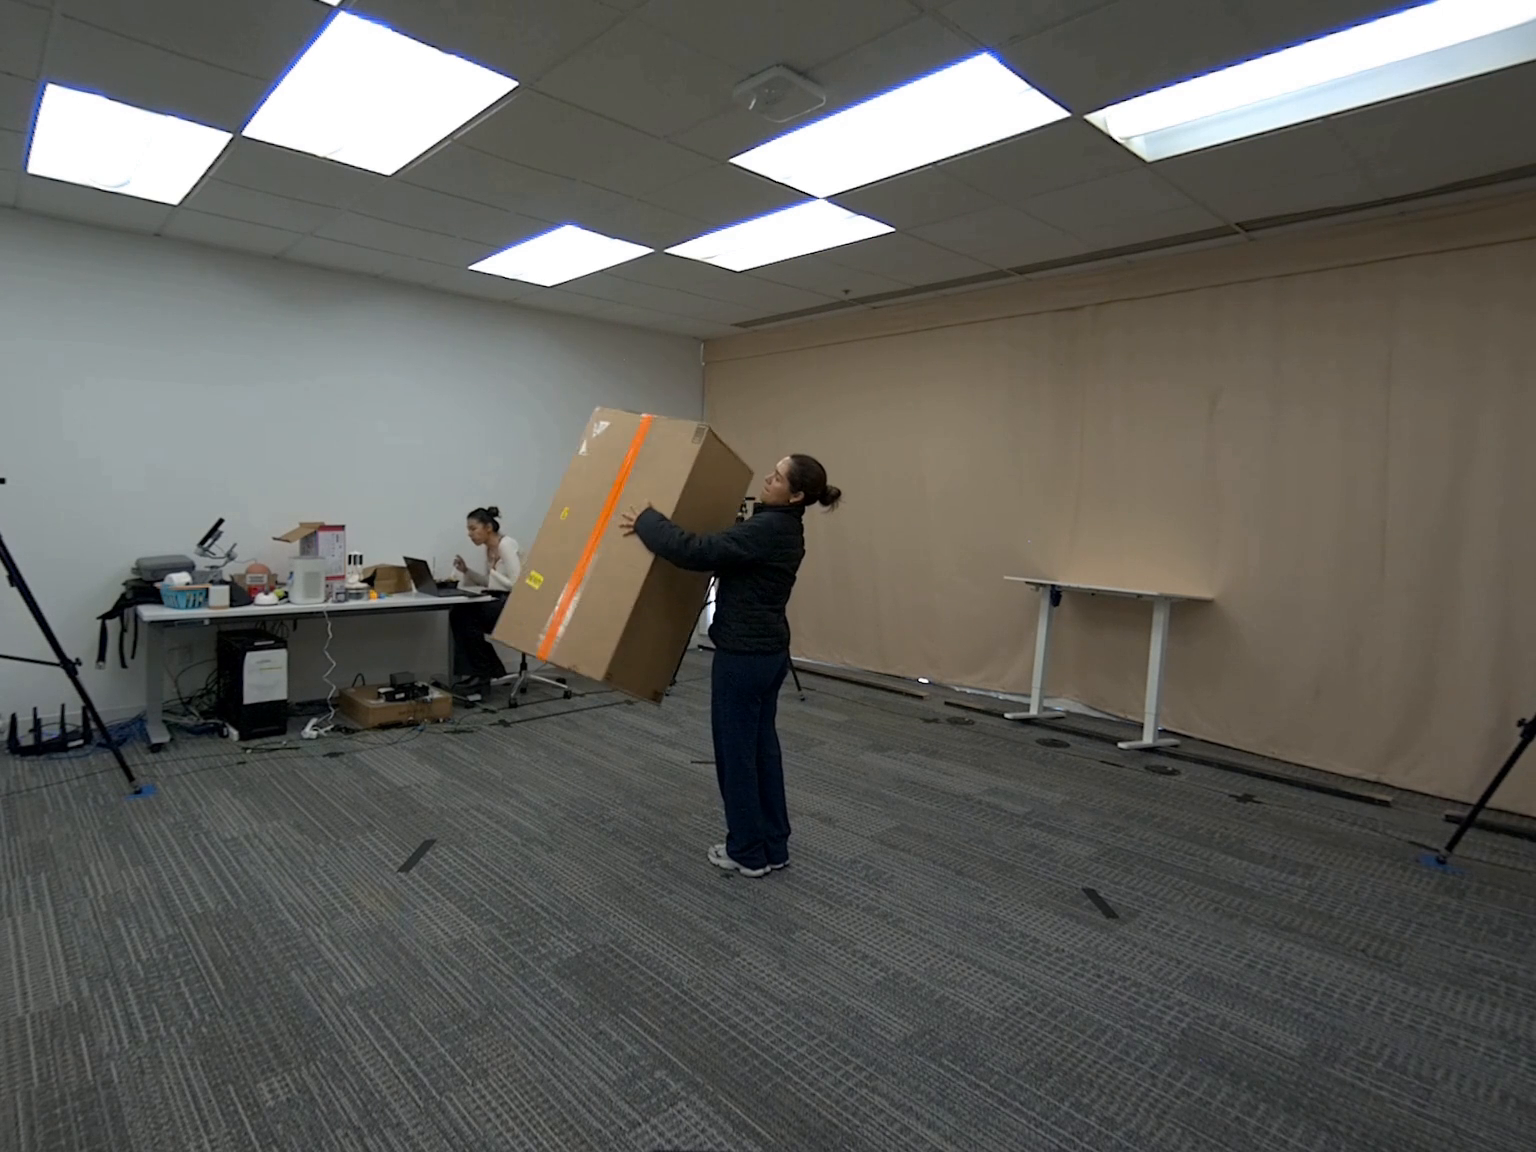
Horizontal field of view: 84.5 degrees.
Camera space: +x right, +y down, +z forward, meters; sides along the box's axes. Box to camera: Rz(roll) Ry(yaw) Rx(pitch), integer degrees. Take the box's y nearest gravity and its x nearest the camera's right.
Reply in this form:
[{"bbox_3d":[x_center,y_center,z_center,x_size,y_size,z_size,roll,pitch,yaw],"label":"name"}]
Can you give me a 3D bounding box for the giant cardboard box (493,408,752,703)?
[{"bbox_3d":[-0.551,-0.089,3.331,0.592,1.031,0.413,14,-14,30],"label":"giant cardboard box"}]
